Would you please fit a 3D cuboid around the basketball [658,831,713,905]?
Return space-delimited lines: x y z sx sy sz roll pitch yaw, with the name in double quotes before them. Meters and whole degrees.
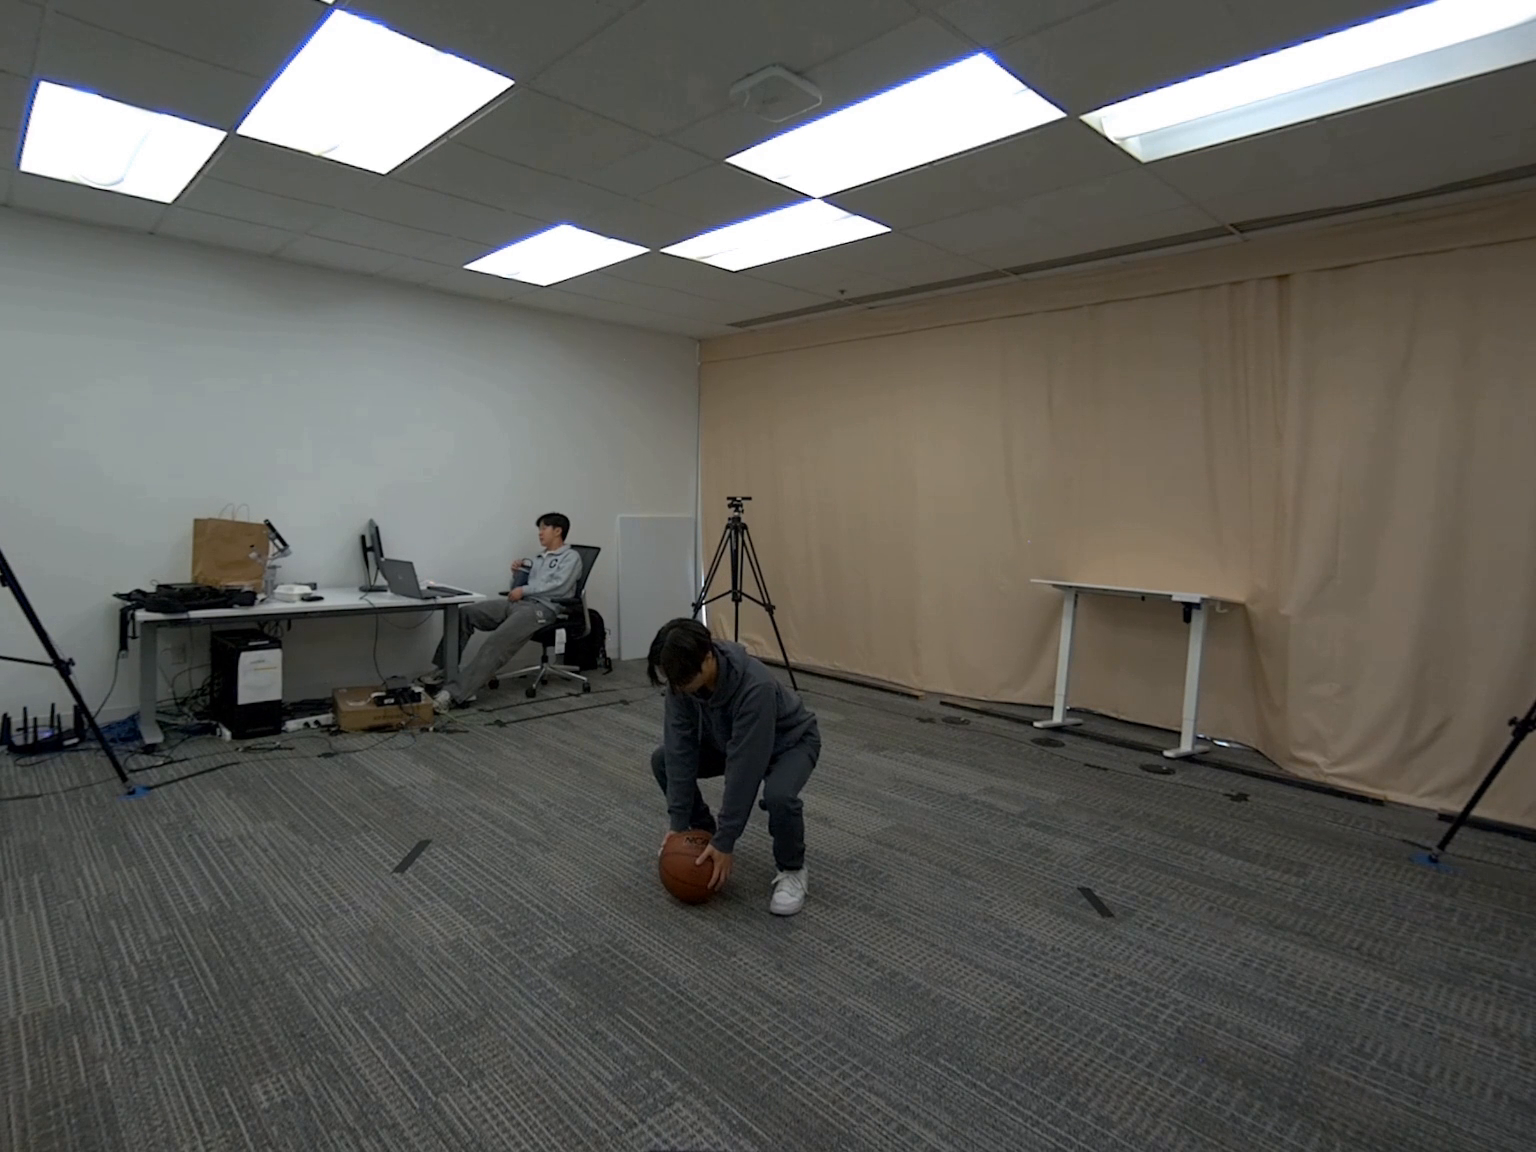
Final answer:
"basketball" -0.268 1.001 2.911 0.236 0.235 0.237 1 4 -1
